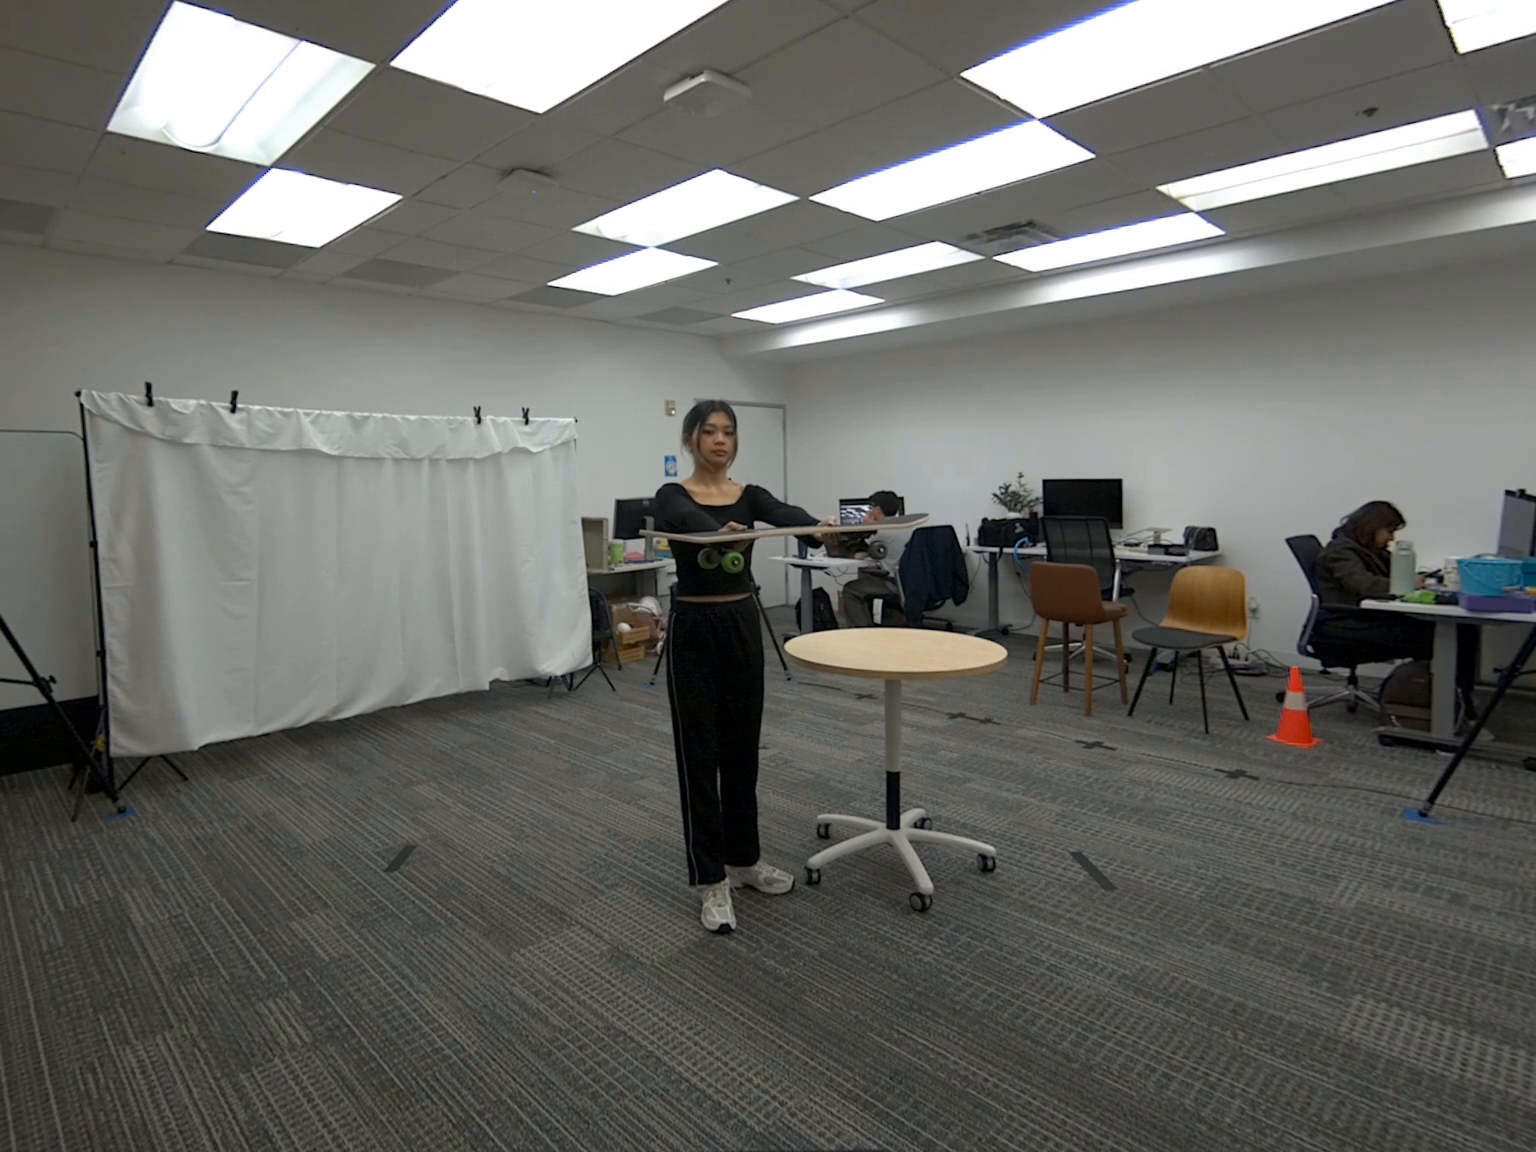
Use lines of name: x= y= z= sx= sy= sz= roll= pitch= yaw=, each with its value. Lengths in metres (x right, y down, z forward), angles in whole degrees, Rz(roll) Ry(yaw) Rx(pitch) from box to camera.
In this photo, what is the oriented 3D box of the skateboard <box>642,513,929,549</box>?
skateboard: x=0.058 y=-0.082 z=2.140 sx=0.769 sy=0.110 sz=0.198 roll=-5 pitch=4 yaw=-26
